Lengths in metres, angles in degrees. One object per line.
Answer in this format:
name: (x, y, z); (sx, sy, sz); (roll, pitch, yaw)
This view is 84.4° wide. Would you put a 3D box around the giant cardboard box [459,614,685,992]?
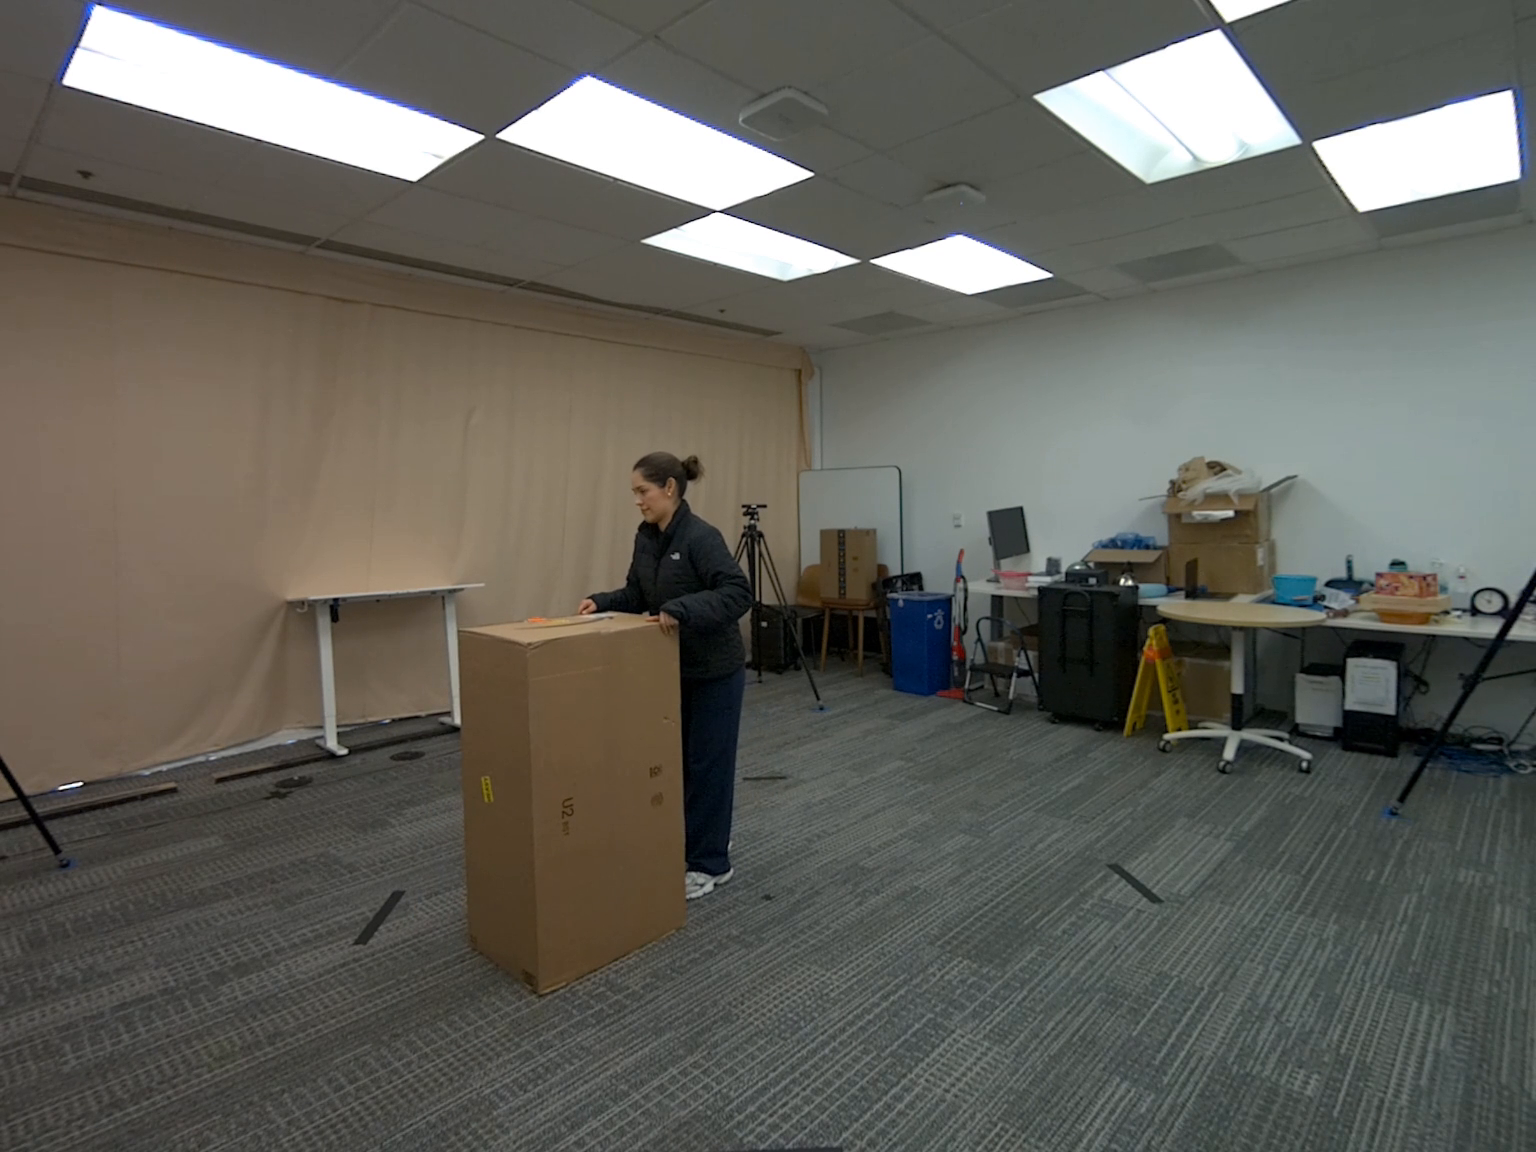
giant cardboard box: (-0.626, 0.666, 2.720); (0.461, 1.025, 0.566); (1, 3, 45)
